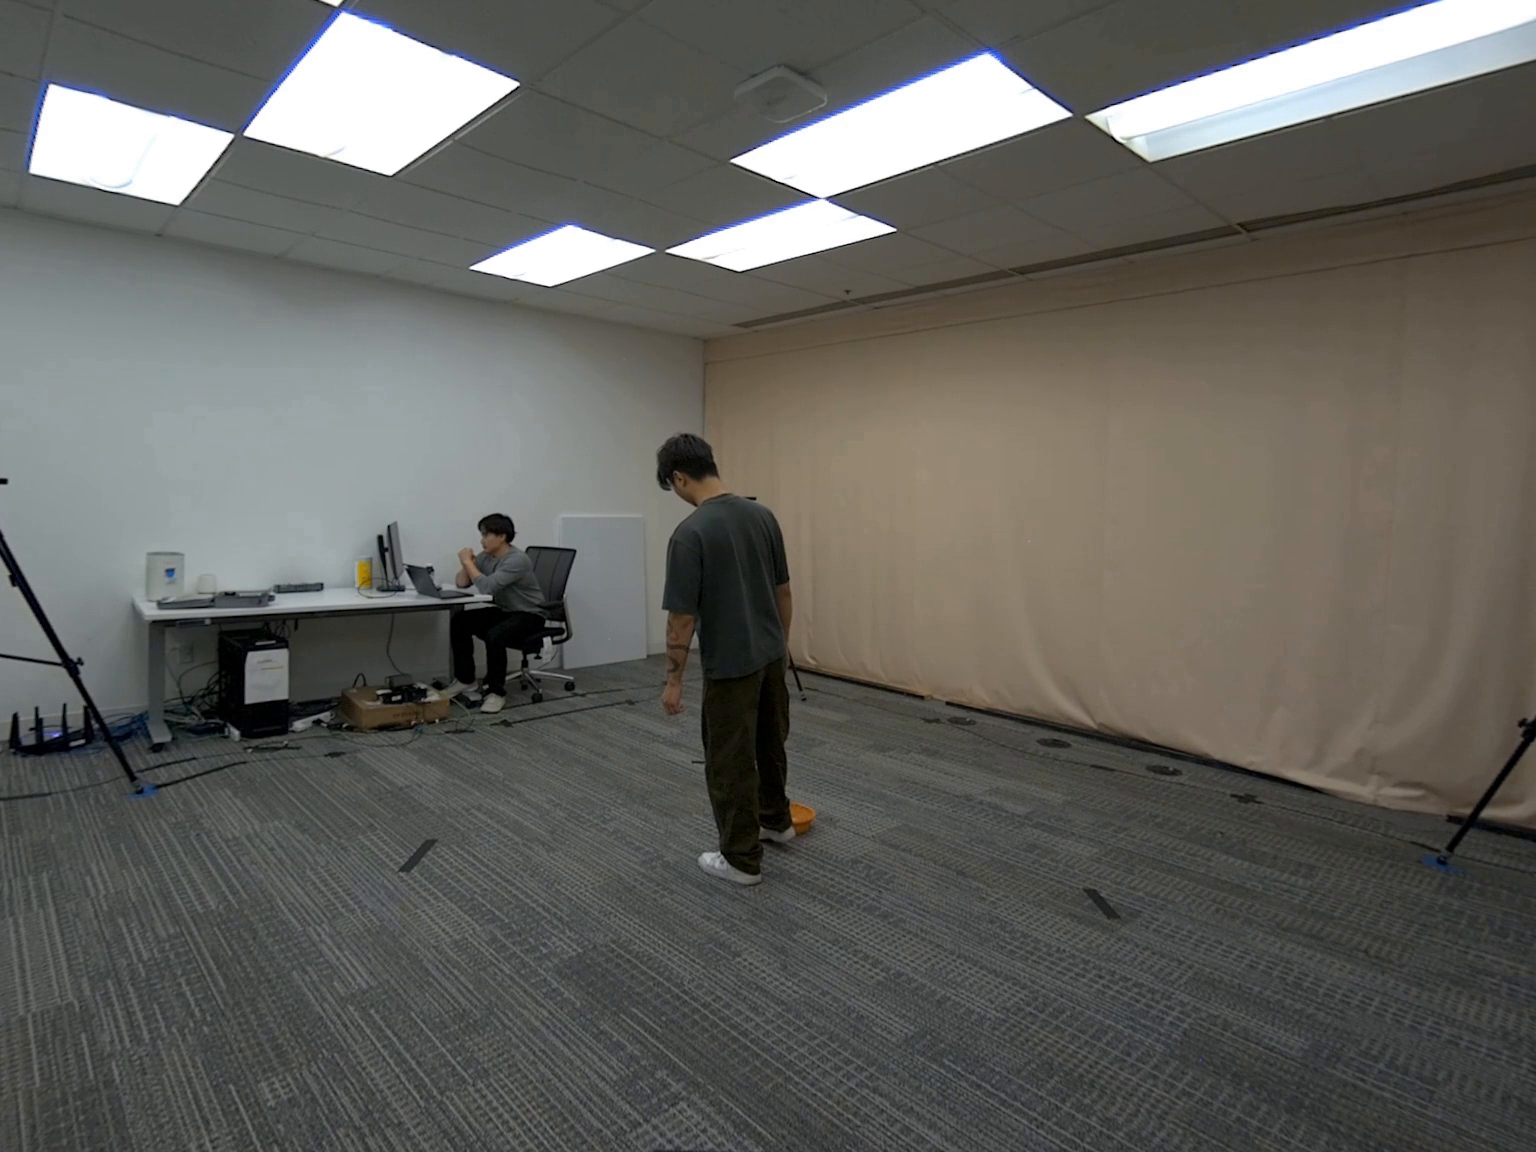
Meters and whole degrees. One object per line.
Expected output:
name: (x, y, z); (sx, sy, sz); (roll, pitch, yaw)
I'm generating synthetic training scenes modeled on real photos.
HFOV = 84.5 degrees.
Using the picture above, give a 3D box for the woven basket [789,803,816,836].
woven basket: (0.024, 1.029, 3.598); (0.357, 0.073, 0.248); (4, 4, 26)
